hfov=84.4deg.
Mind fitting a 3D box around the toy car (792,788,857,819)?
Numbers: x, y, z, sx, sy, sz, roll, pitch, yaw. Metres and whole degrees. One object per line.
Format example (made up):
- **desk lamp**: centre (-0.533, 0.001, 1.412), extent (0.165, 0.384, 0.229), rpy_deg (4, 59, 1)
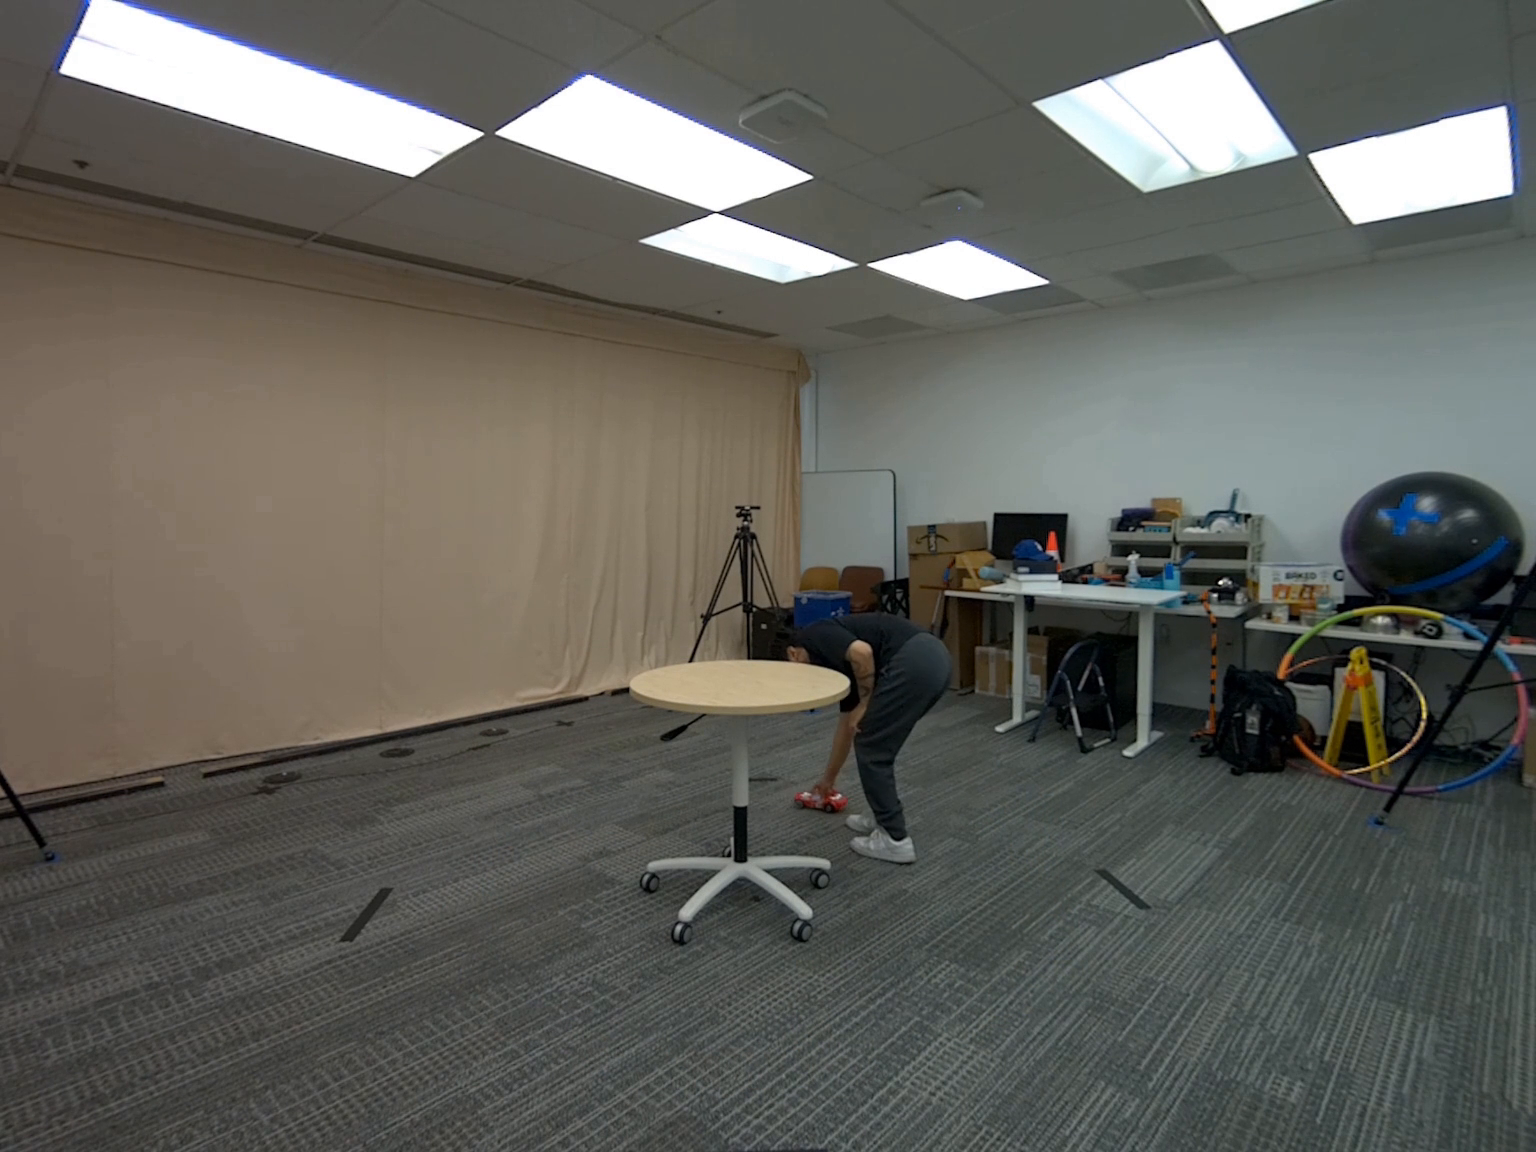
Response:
- **toy car**: centre (0.258, 1.041, 3.886), extent (0.260, 0.083, 0.127), rpy_deg (-10, 0, 24)
